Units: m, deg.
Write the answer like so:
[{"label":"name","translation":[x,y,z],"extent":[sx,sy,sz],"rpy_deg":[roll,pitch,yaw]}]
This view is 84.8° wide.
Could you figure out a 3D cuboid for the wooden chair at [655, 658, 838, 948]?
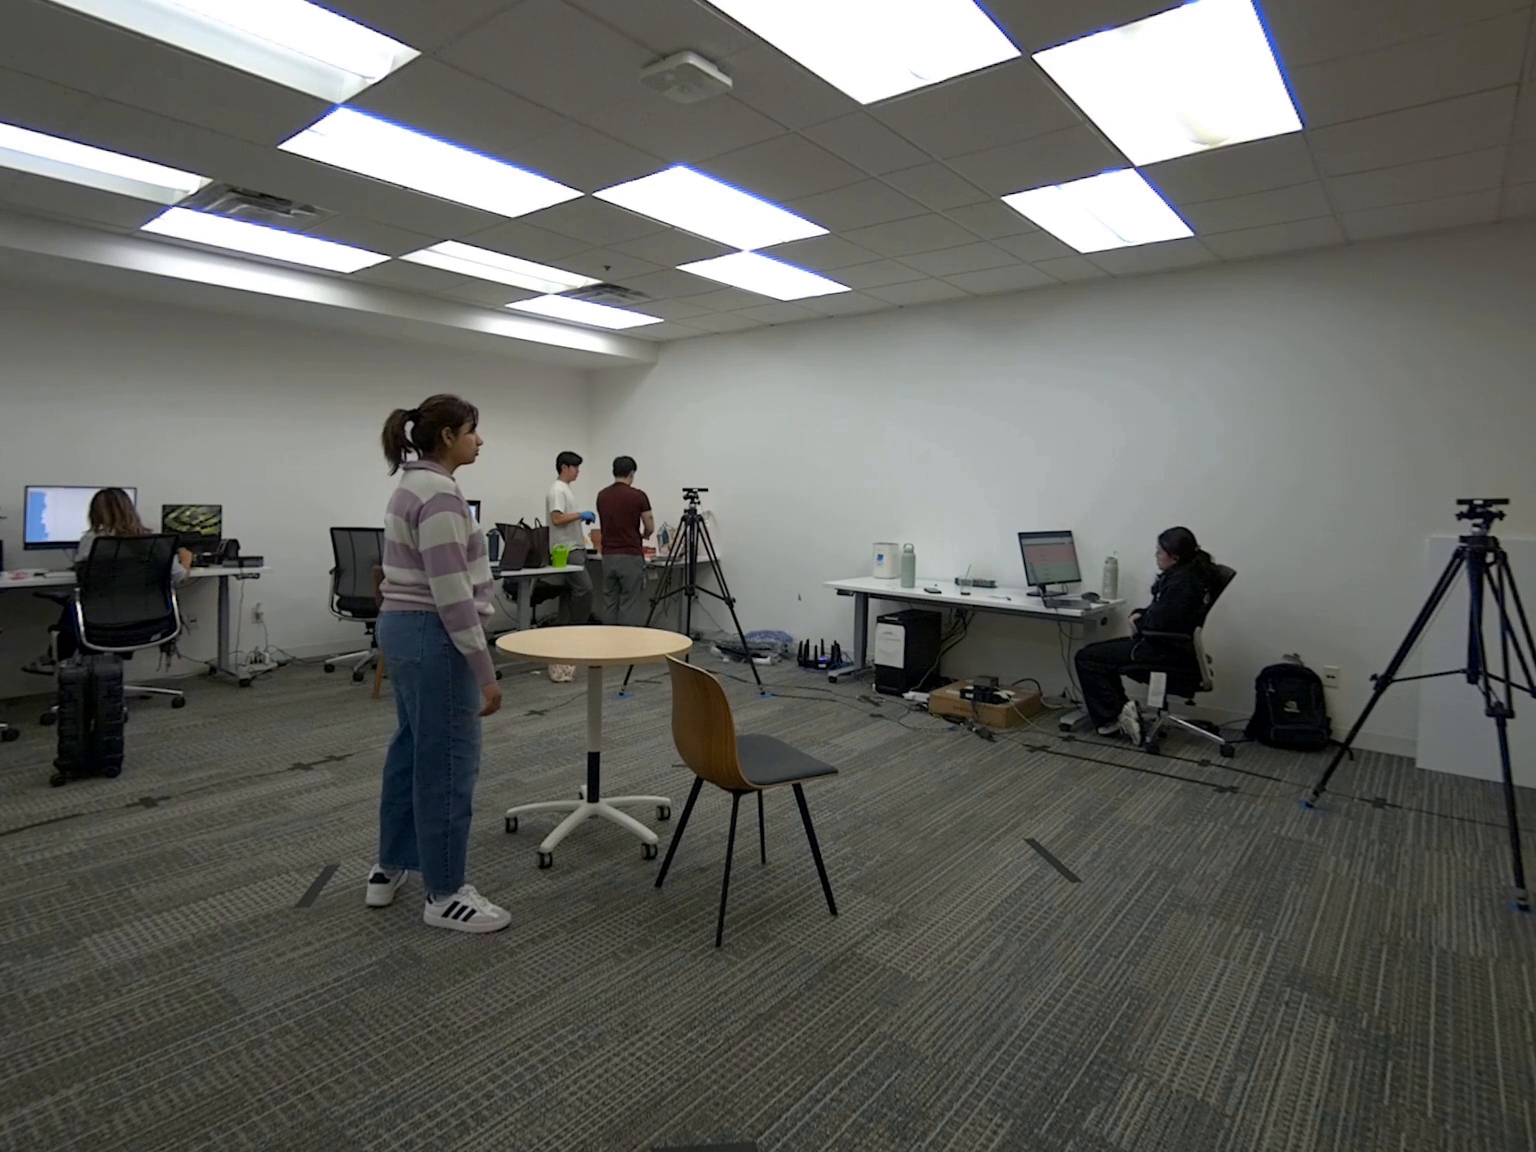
[{"label":"wooden chair","translation":[-0.072,0.674,2.847],"extent":[0.510,0.873,0.493],"rpy_deg":[-6,6,-31]}]
